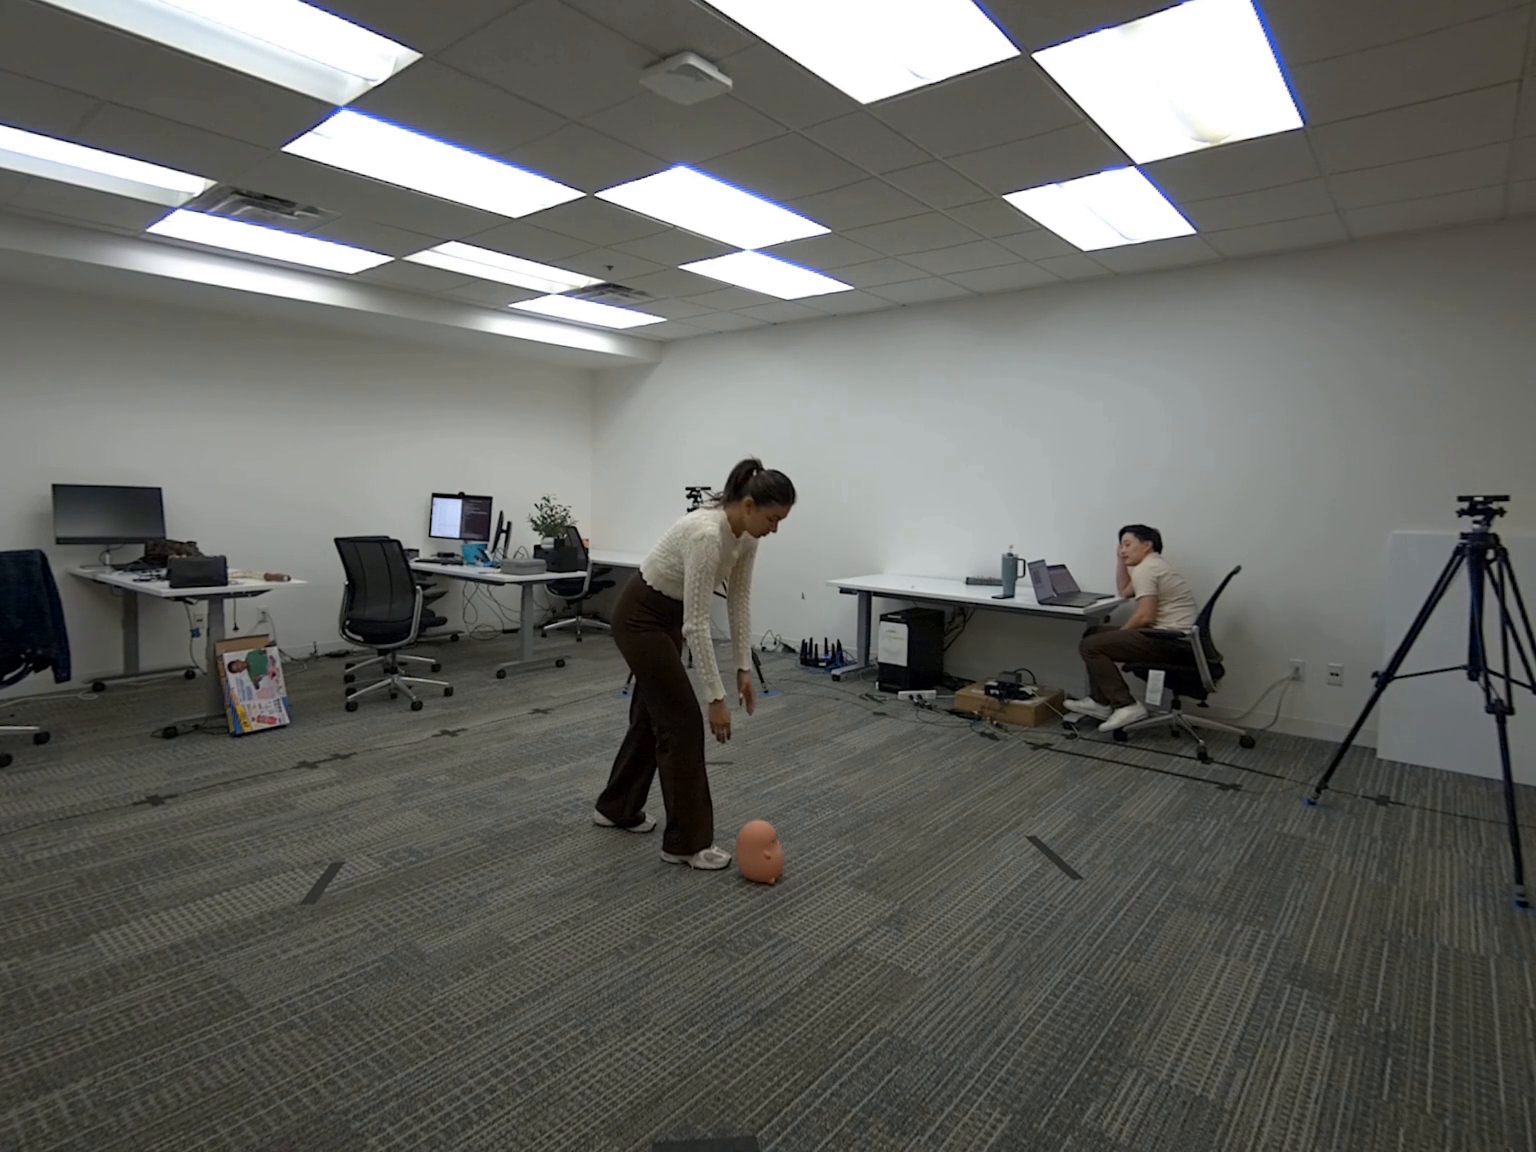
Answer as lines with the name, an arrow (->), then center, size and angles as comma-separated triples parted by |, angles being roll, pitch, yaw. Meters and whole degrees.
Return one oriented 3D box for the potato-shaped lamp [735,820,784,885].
potato-shaped lamp -> -0.036, 0.978, 3.048 | 0.175, 0.197, 0.162 | 1, 5, 22
